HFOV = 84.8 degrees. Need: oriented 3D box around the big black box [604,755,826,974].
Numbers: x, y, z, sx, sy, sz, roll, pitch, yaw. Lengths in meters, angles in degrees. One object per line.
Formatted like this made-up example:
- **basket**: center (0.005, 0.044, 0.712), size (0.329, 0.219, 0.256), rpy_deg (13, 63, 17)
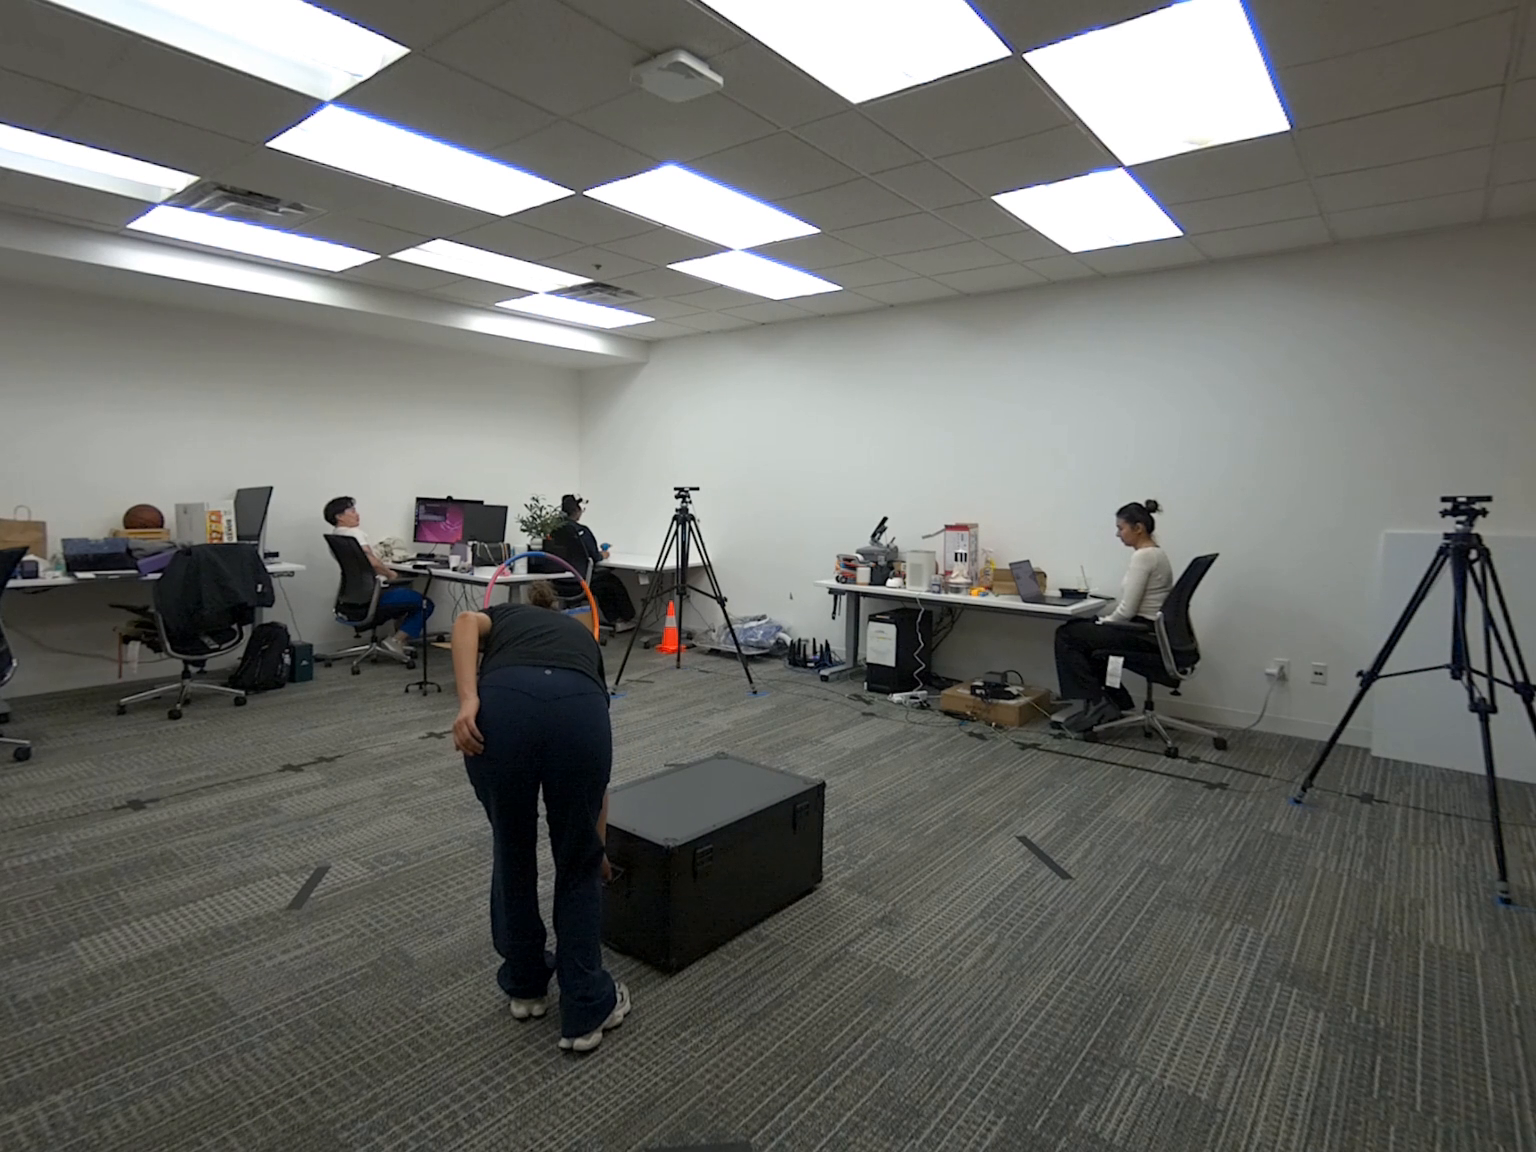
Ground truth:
- **big black box**: center (-0.196, 0.899, 2.864), size (0.539, 0.394, 0.837), rpy_deg (5, 7, 39)
